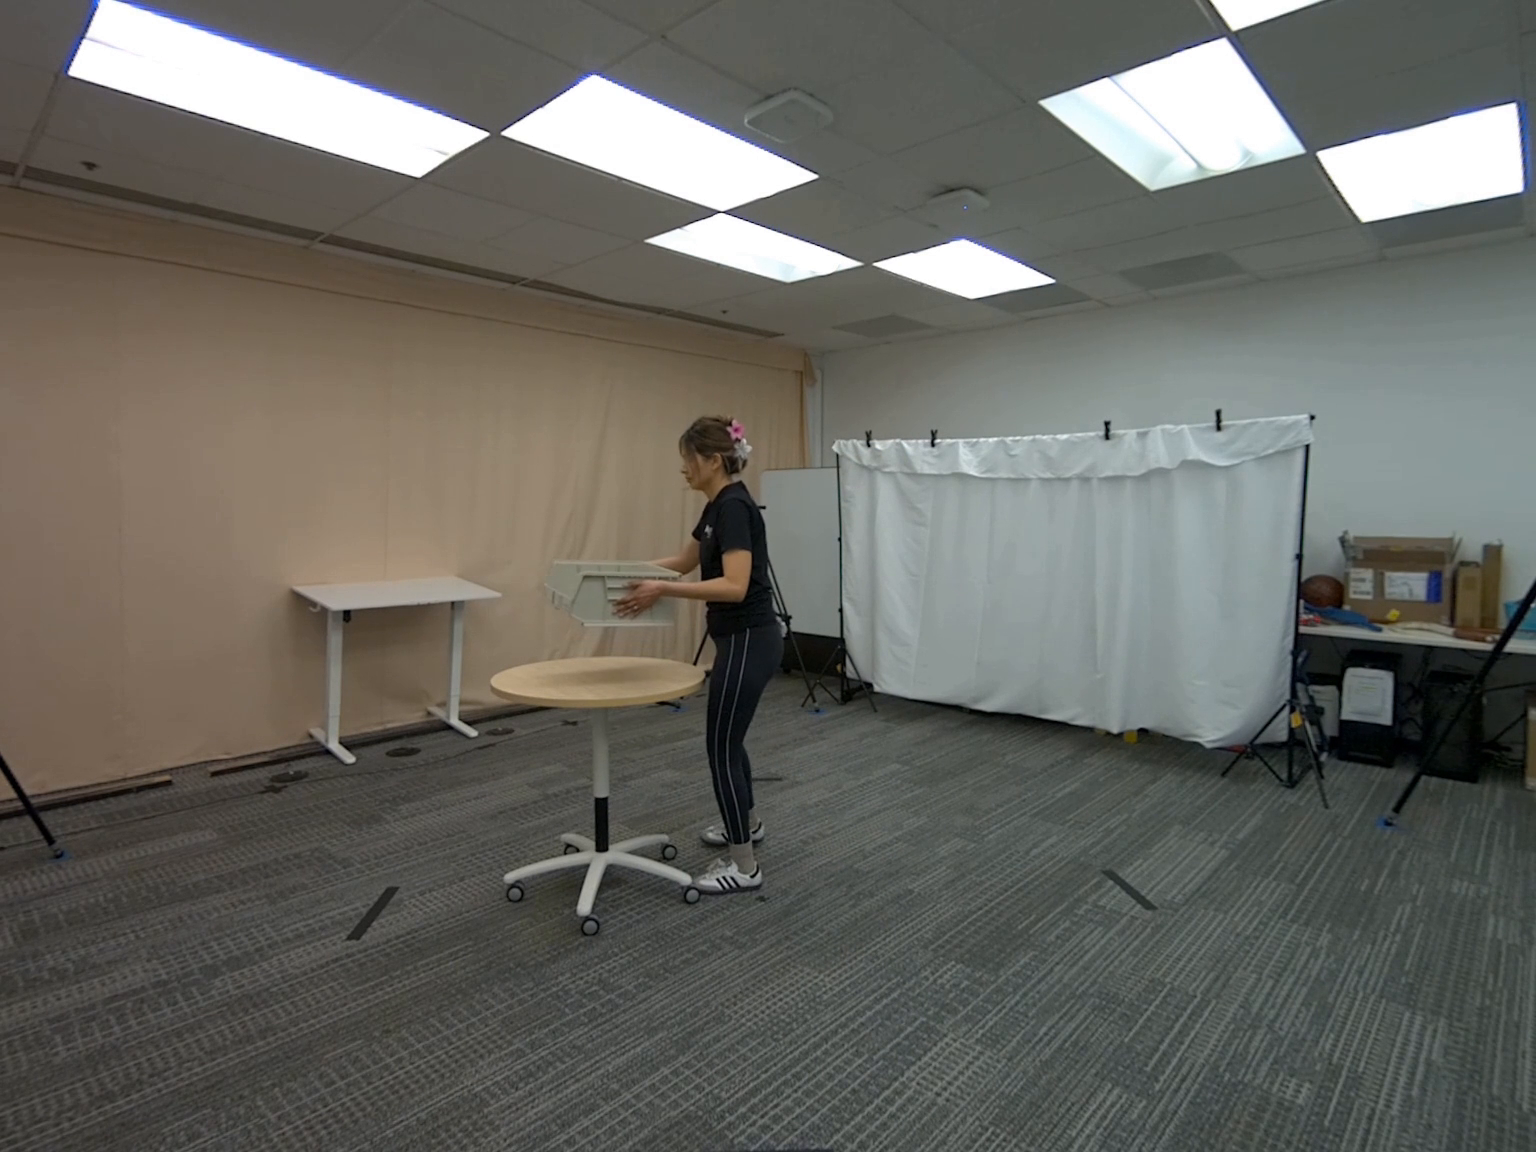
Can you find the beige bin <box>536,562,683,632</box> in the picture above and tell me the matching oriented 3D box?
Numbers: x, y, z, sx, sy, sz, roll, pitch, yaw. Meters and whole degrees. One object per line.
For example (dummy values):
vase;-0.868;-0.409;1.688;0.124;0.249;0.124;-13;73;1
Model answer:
beige bin;-0.561;0.067;2.930;0.367;0.189;0.434;3;3;-27
